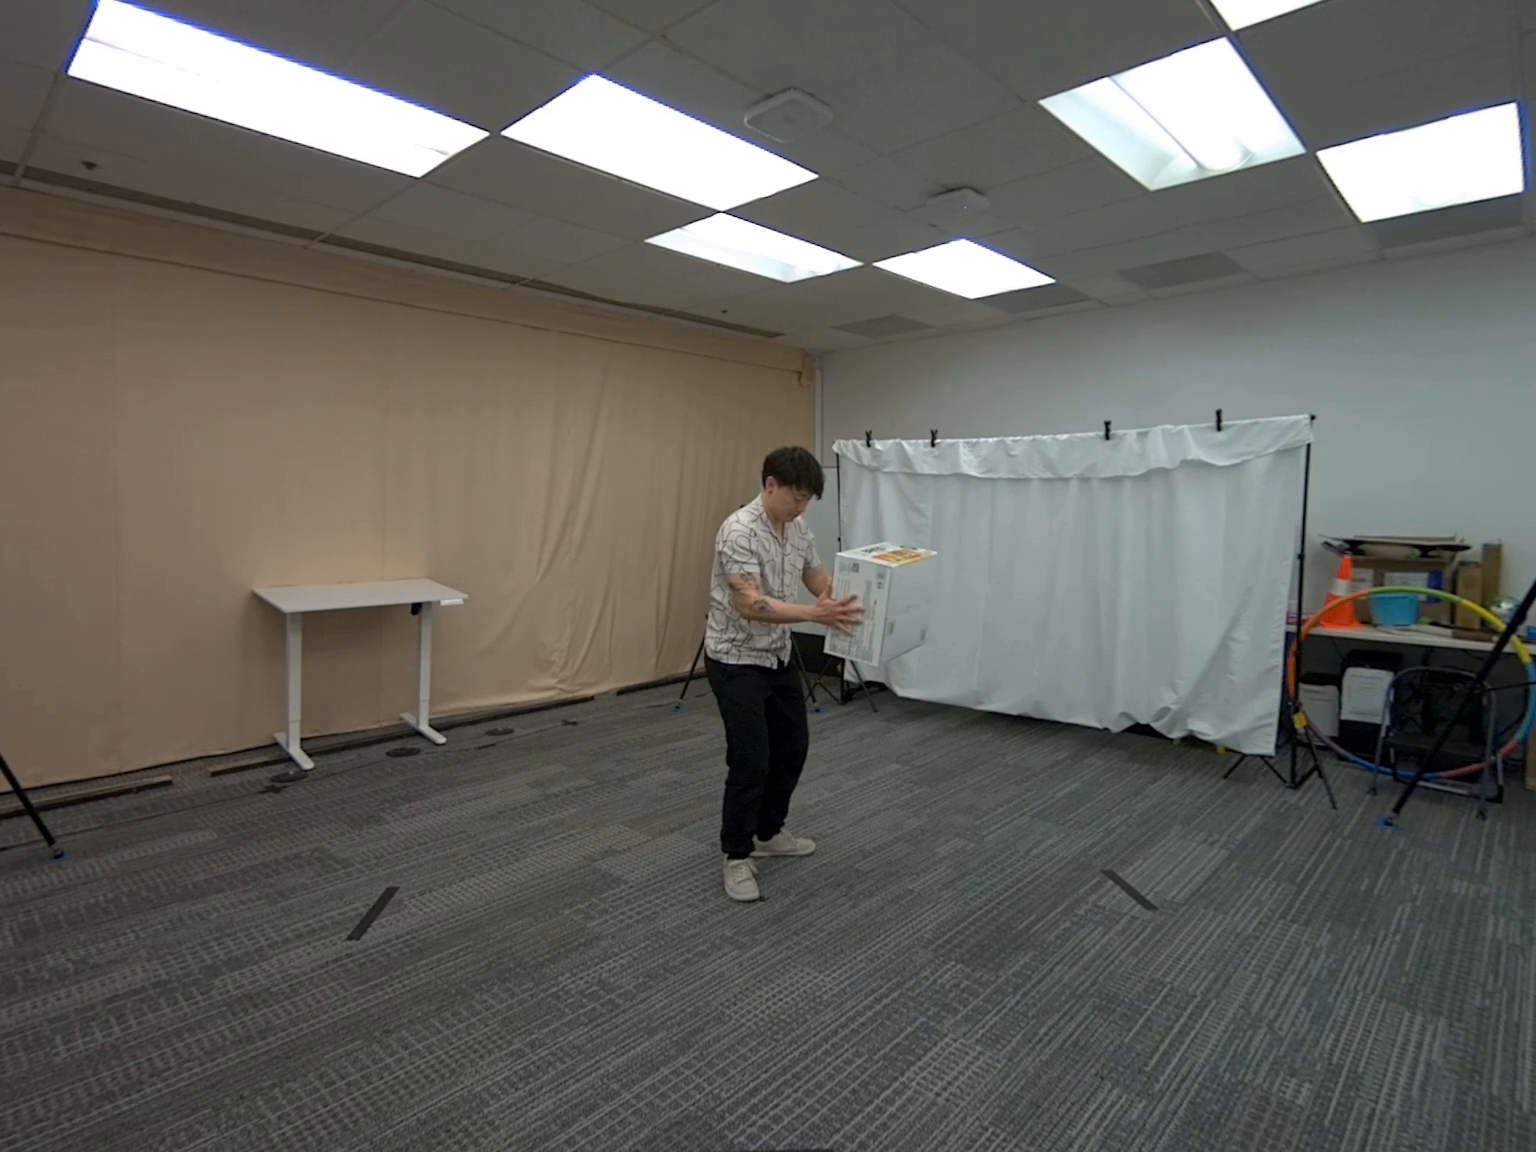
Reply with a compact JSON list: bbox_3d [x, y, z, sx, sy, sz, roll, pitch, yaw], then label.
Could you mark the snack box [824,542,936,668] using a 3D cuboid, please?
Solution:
[{"bbox_3d":[0.408,0.089,2.885,0.212,0.338,0.394,13,14,32],"label":"snack box"}]
